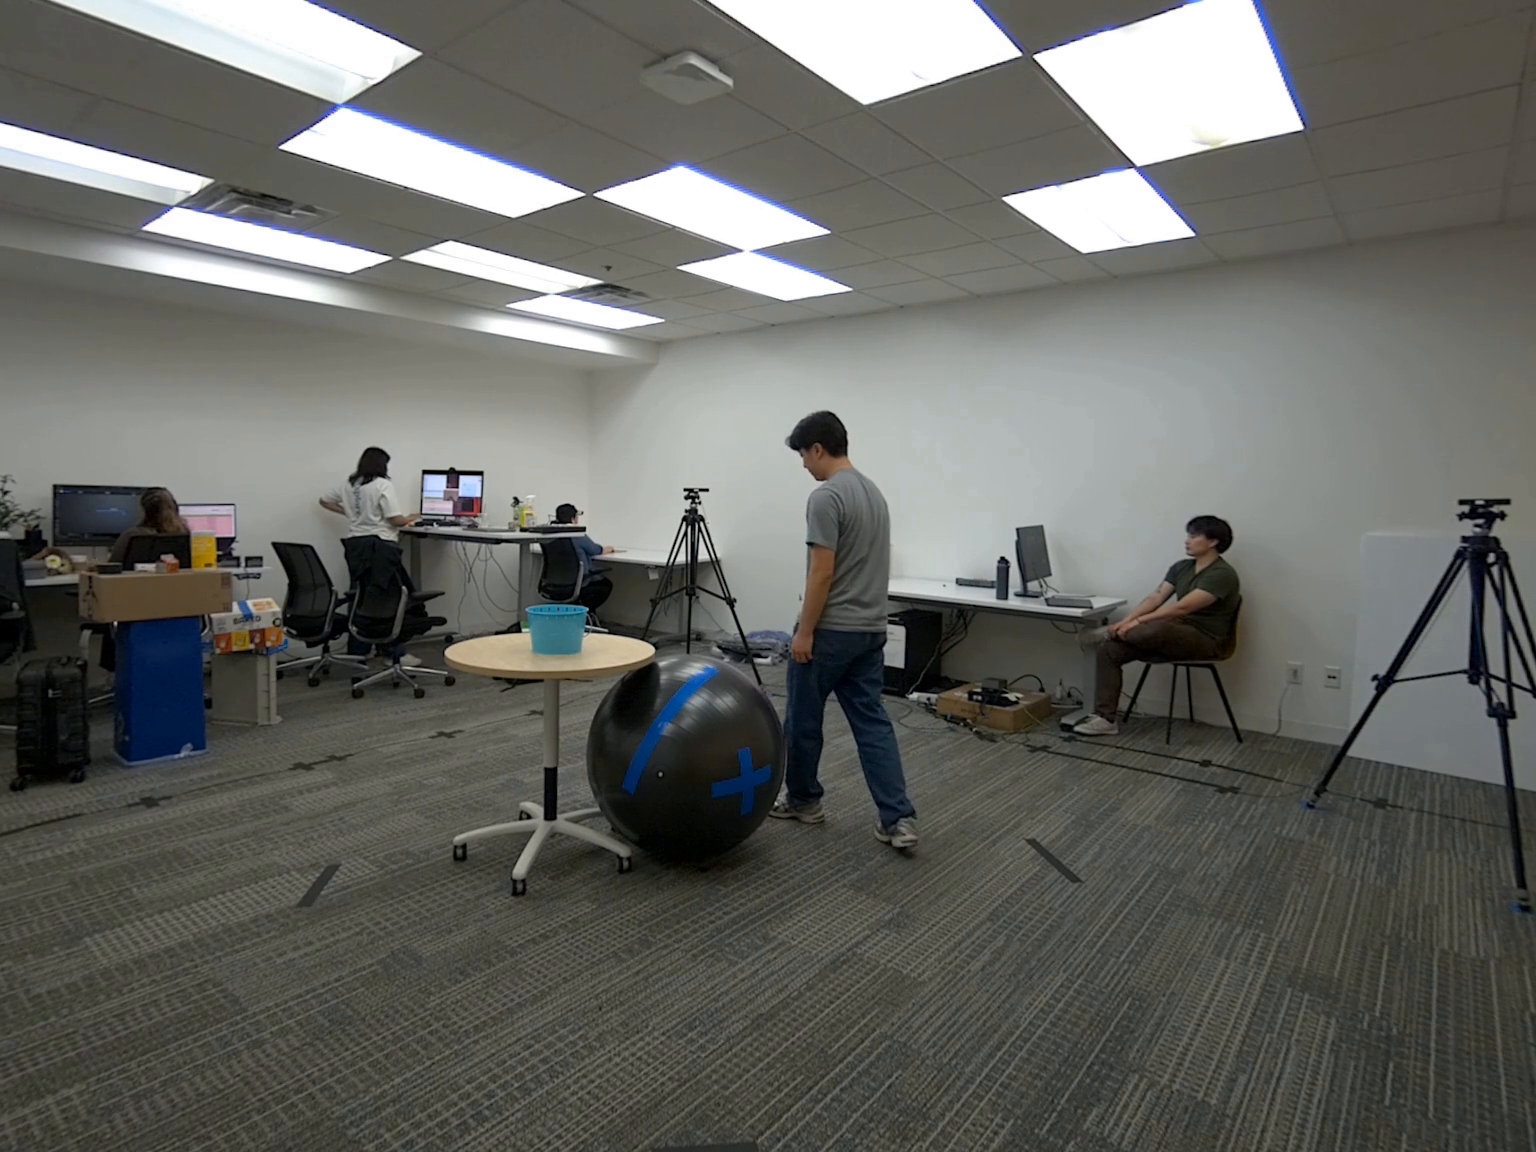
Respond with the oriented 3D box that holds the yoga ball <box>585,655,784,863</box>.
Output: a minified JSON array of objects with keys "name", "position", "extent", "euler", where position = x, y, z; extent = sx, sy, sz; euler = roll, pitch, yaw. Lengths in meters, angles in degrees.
[{"name":"yoga ball","position":[-0.325,0.681,3.262],"extent":[0.757,0.755,0.762],"euler":[1,4,-2]}]
